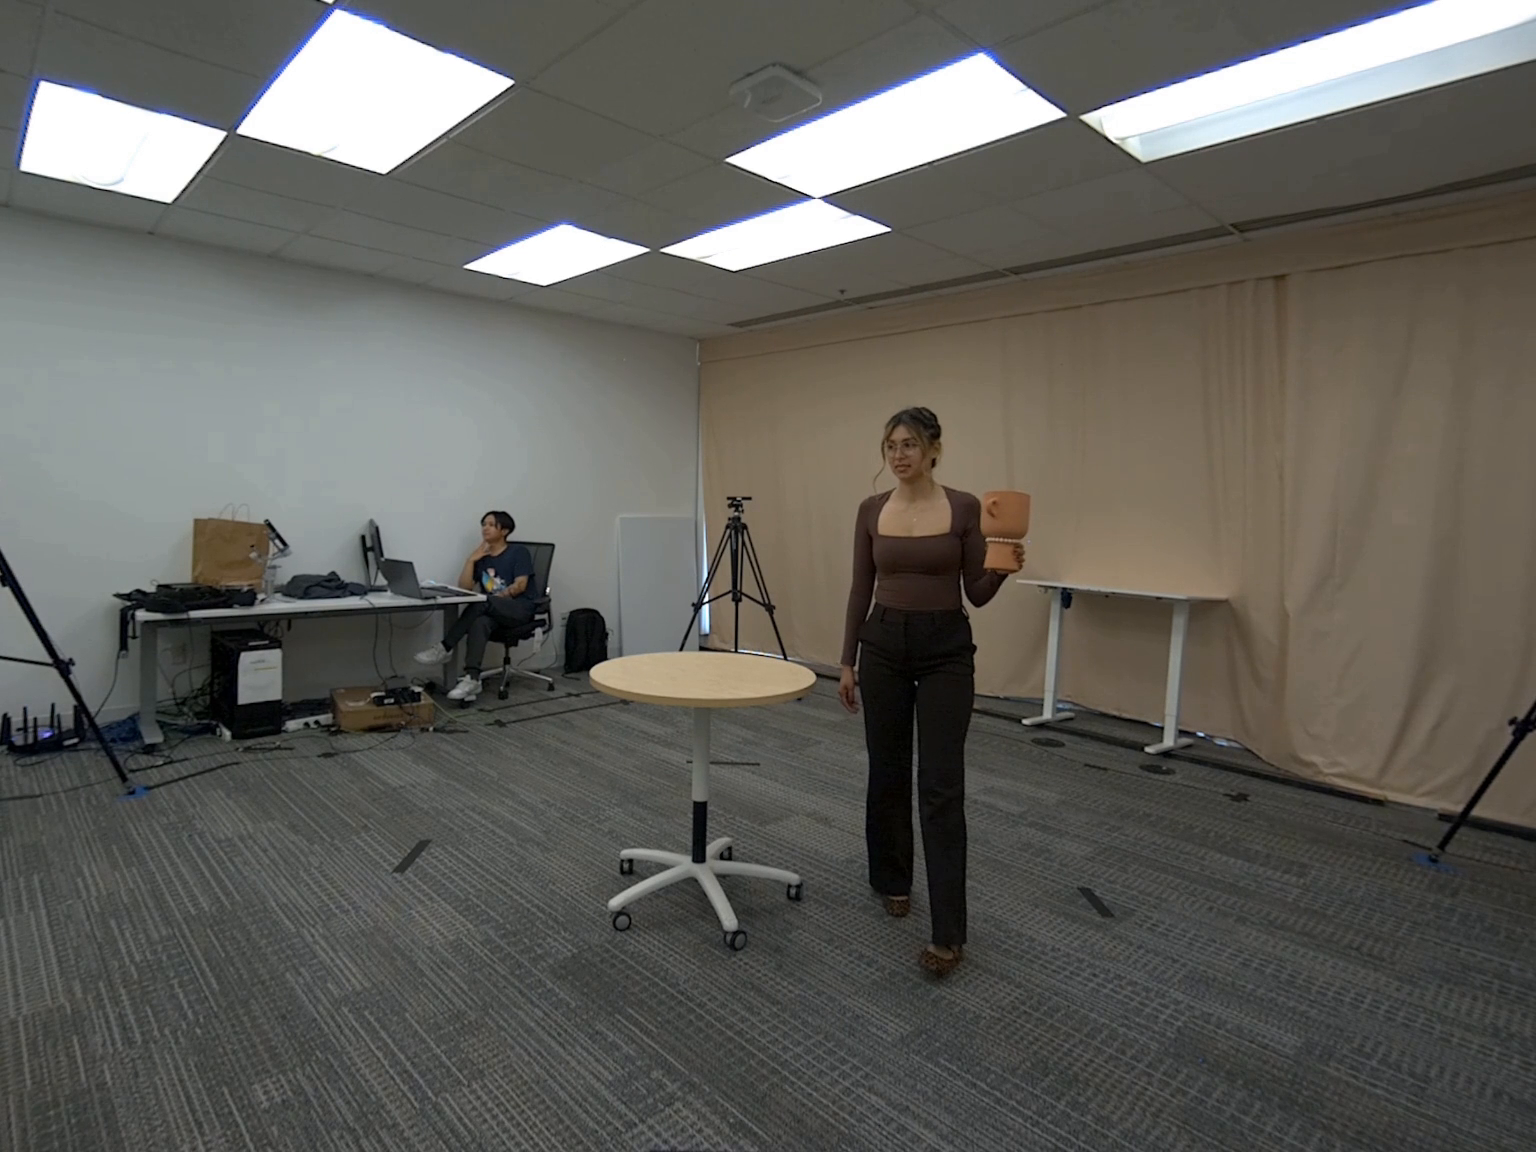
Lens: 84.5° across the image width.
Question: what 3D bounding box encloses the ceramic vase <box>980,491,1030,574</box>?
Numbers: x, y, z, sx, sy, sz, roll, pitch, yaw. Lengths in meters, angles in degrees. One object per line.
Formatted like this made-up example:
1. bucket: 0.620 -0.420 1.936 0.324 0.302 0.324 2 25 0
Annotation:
1. ceramic vase: 0.668 -0.133 2.425 0.158 0.220 0.135 4 -3 -3
